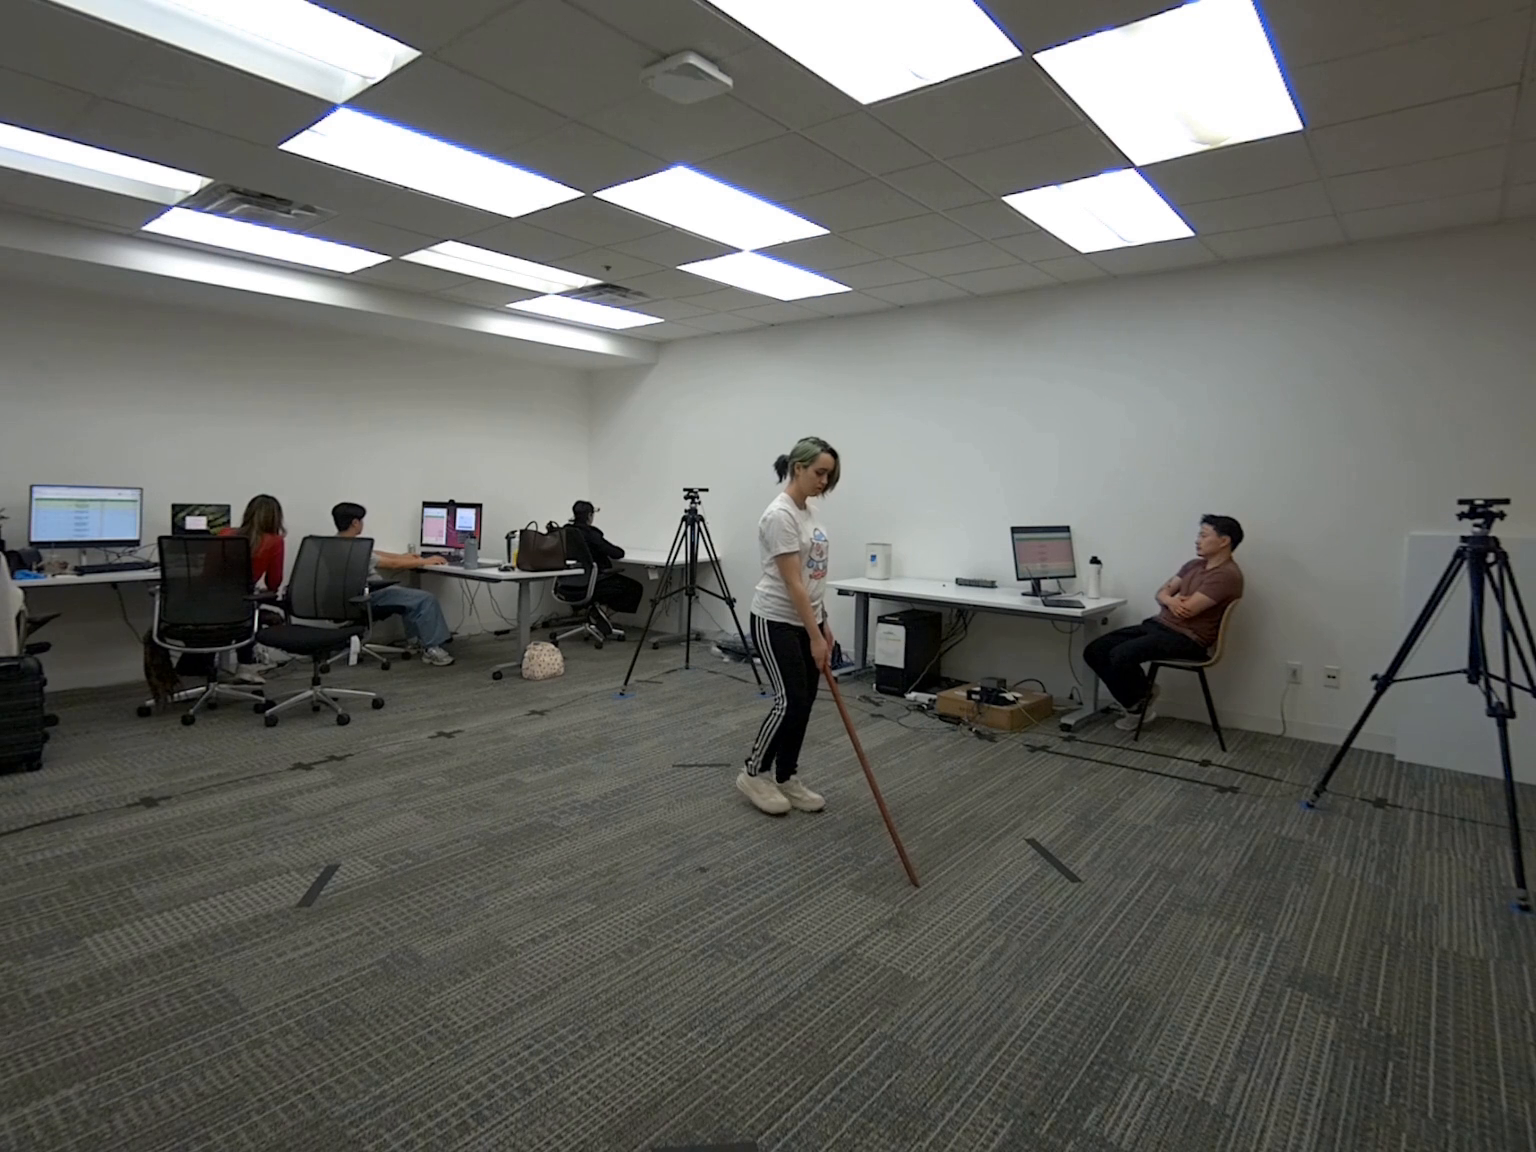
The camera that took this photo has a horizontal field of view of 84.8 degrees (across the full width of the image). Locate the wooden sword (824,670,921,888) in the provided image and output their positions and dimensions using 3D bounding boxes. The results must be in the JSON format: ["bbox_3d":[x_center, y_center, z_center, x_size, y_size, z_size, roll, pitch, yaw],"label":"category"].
[{"bbox_3d":[0.362,0.691,3.303,0.024,1.062,0.049,-34,-34,17],"label":"wooden sword"}]
